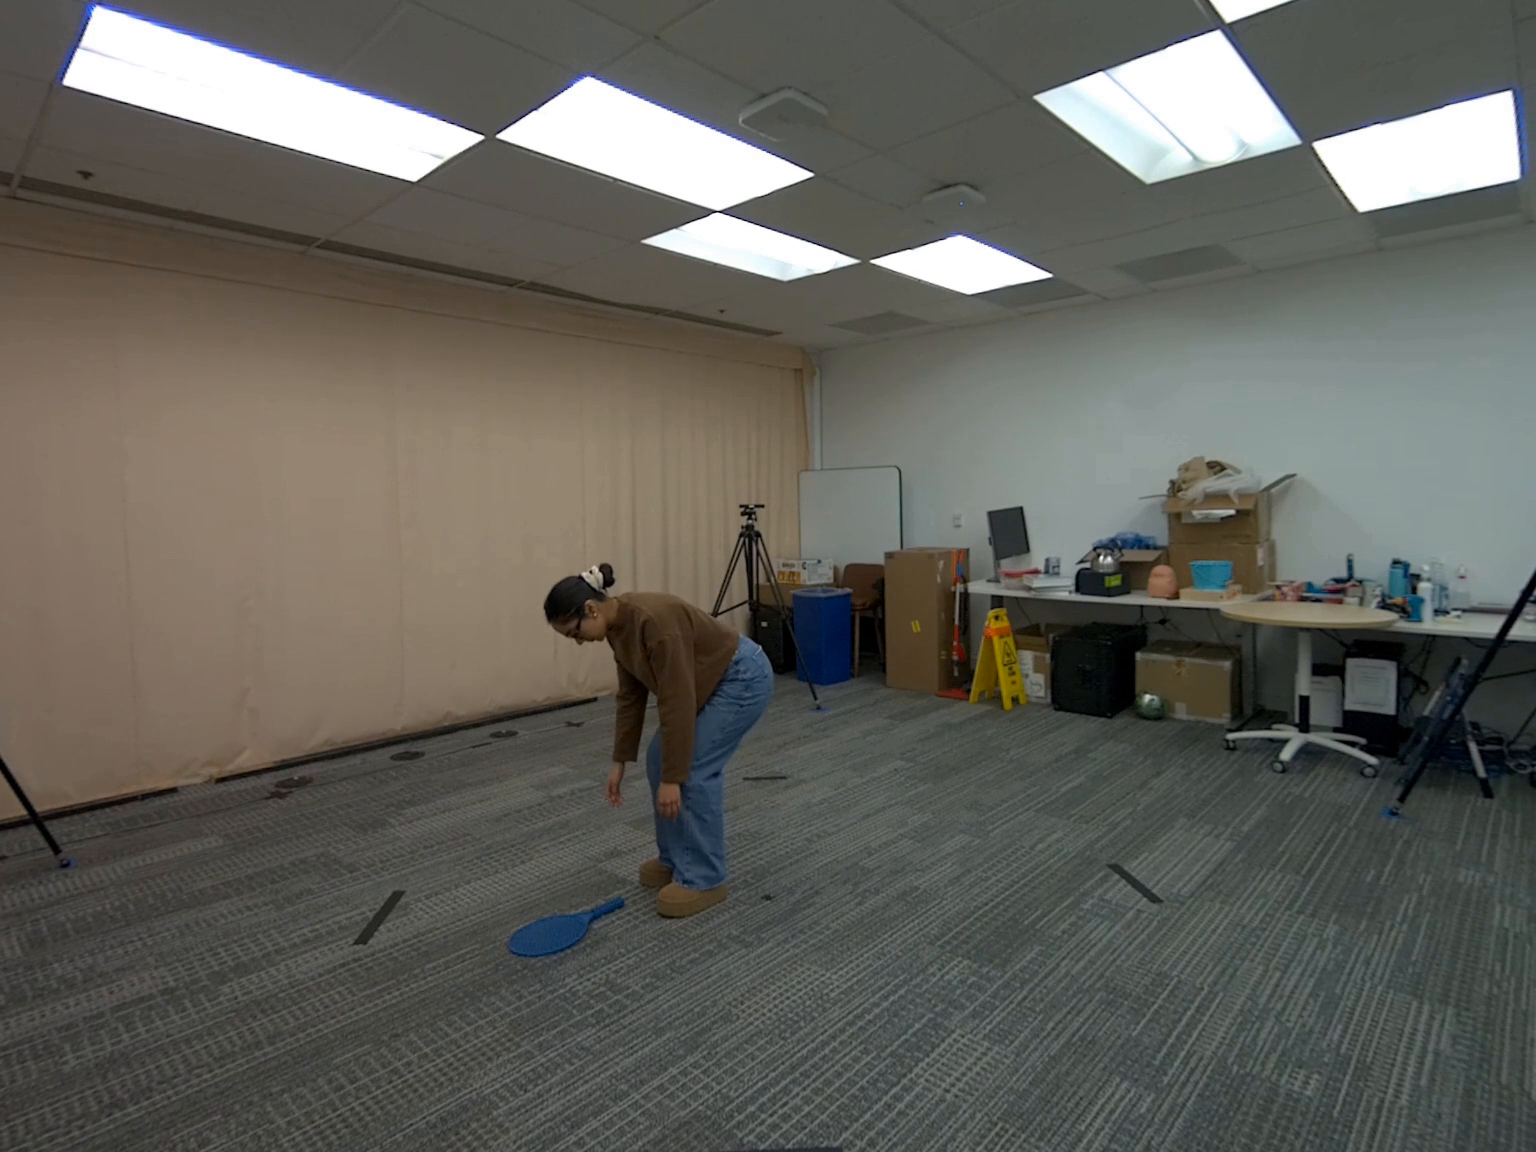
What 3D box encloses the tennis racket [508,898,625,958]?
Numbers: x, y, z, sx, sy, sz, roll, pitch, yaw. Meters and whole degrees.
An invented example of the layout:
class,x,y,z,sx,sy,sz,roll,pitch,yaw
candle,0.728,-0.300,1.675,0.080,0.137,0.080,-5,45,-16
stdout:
class,x,y,z,sx,sy,sz,roll,pitch,yaw
tennis racket,-0.655,1.157,2.792,0.420,0.031,0.221,-7,8,-44
